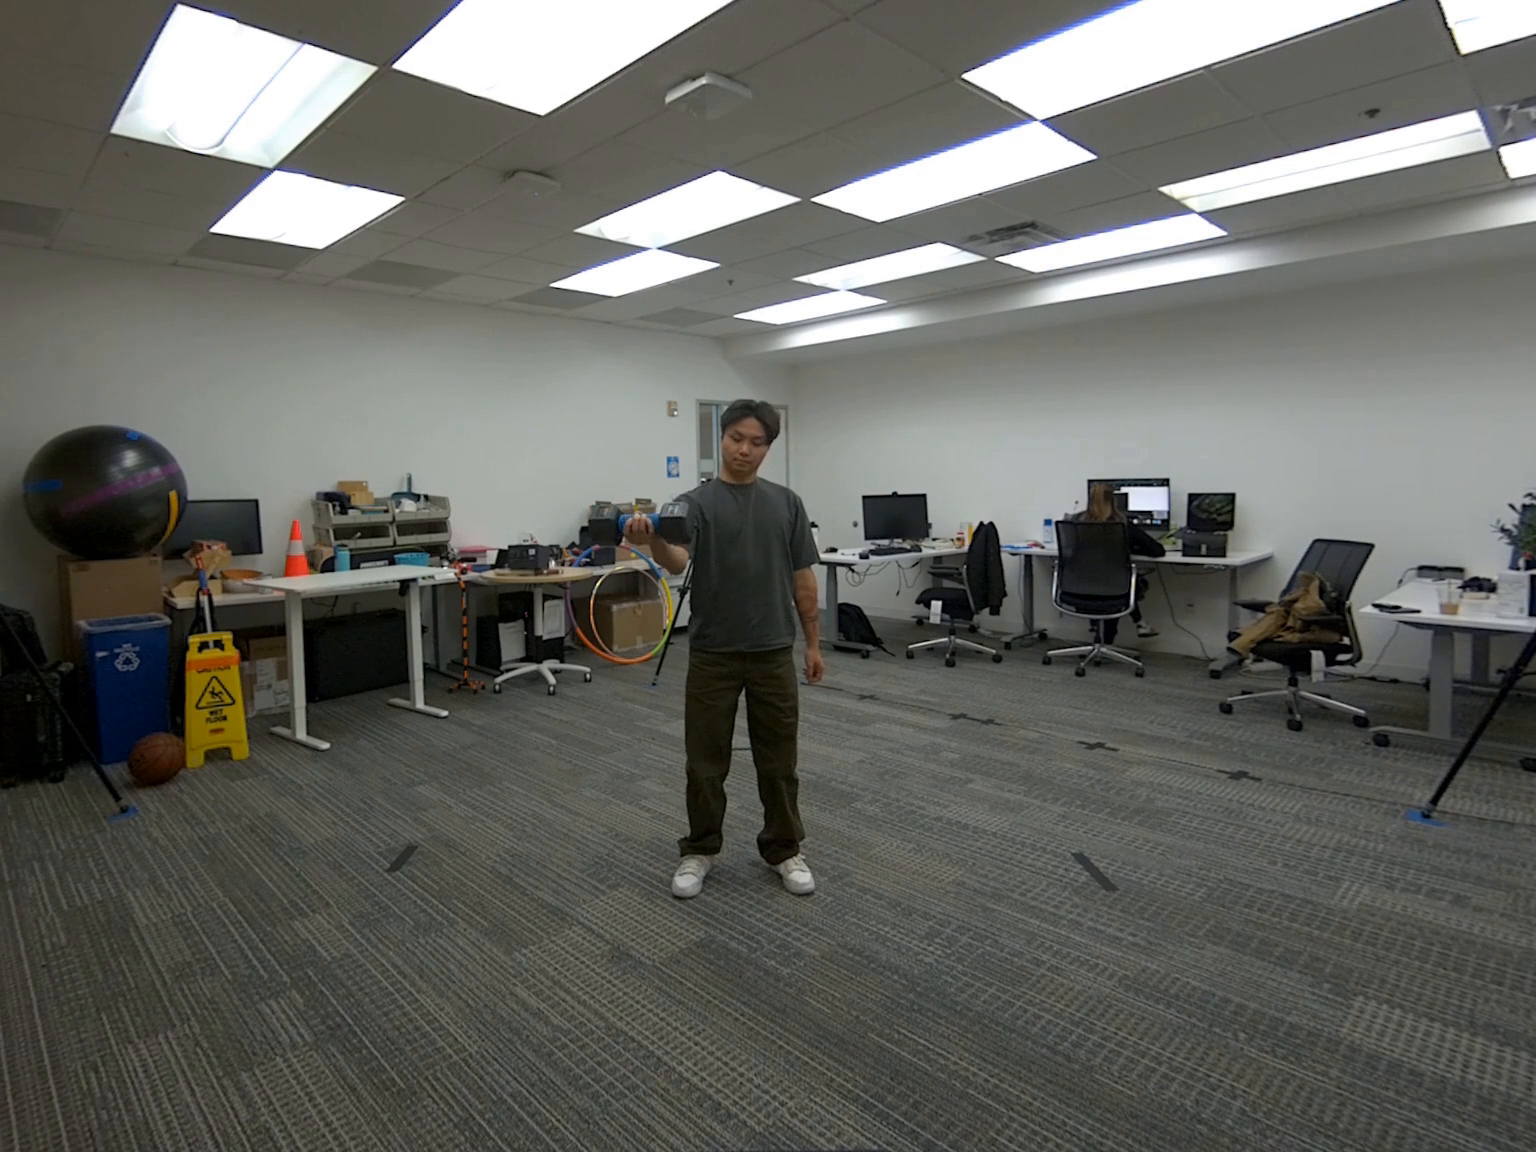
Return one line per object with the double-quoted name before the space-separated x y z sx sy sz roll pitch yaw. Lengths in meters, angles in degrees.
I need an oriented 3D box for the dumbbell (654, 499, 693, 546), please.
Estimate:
"dumbbell" -0.362 -0.149 2.448 0.298 0.121 0.108 -1 14 15
